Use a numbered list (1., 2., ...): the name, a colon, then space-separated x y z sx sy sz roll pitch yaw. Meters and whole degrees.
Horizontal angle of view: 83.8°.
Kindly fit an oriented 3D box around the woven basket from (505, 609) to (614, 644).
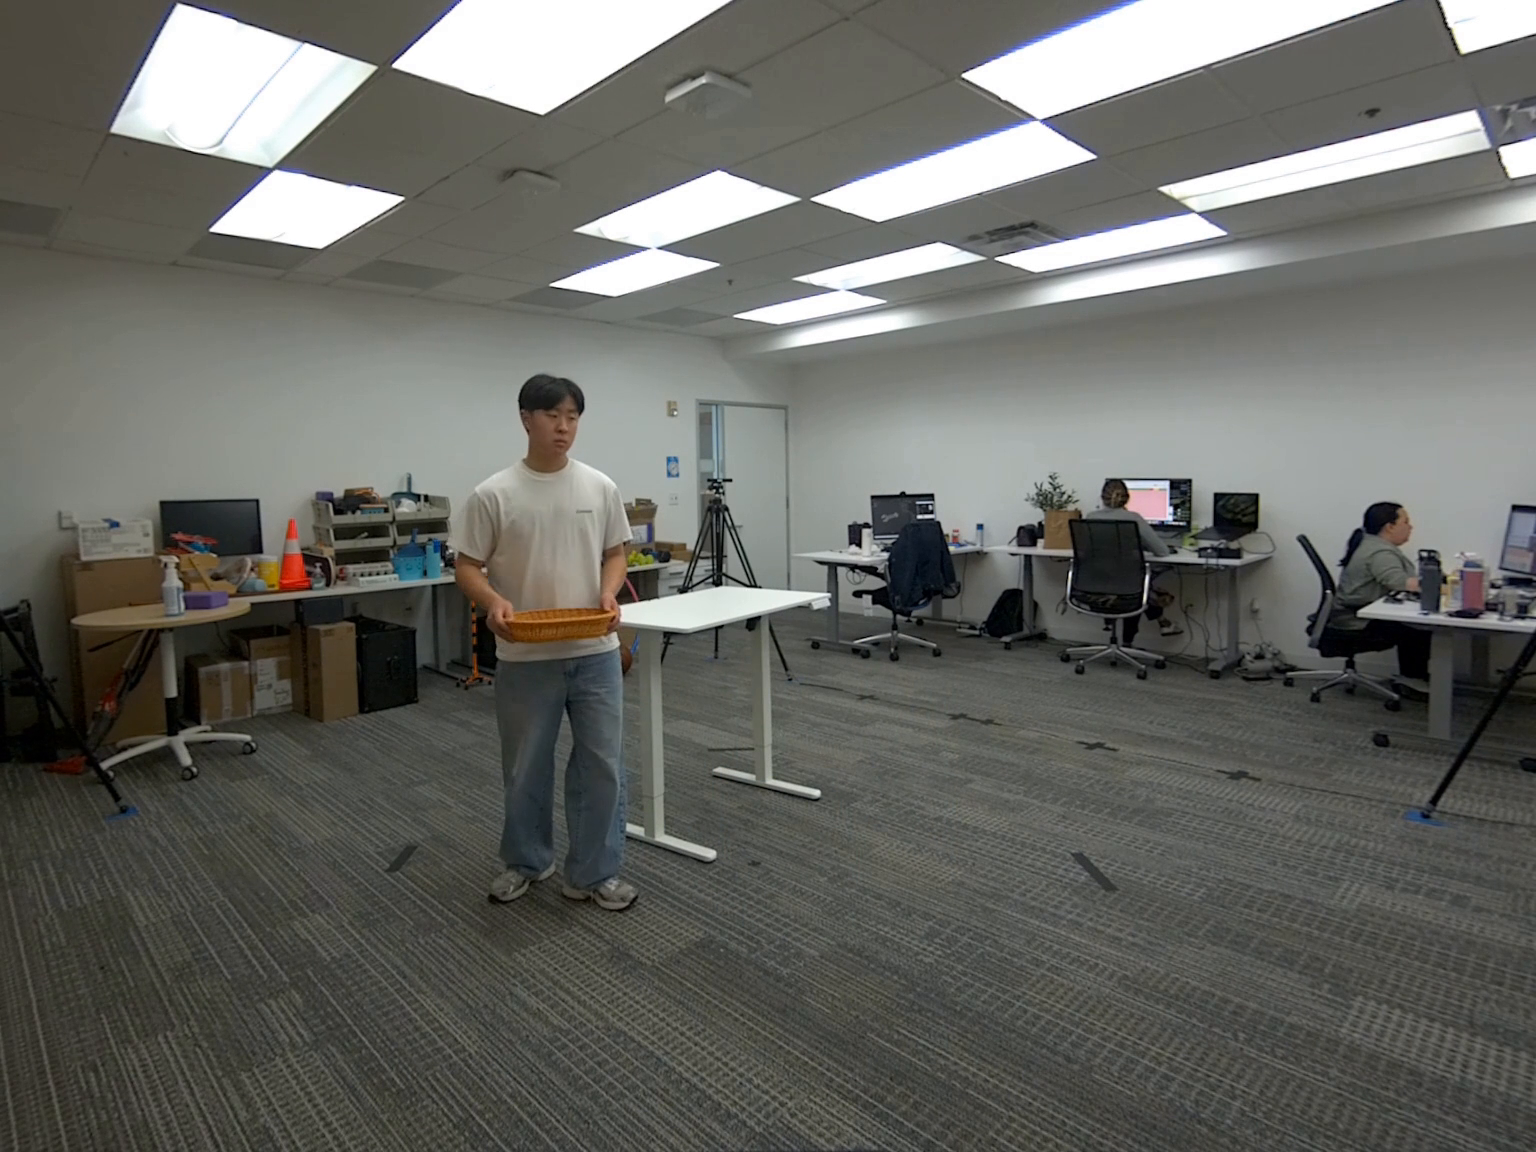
1. woven basket: -0.648 0.150 2.607 0.342 0.073 0.260 -6 8 -32
